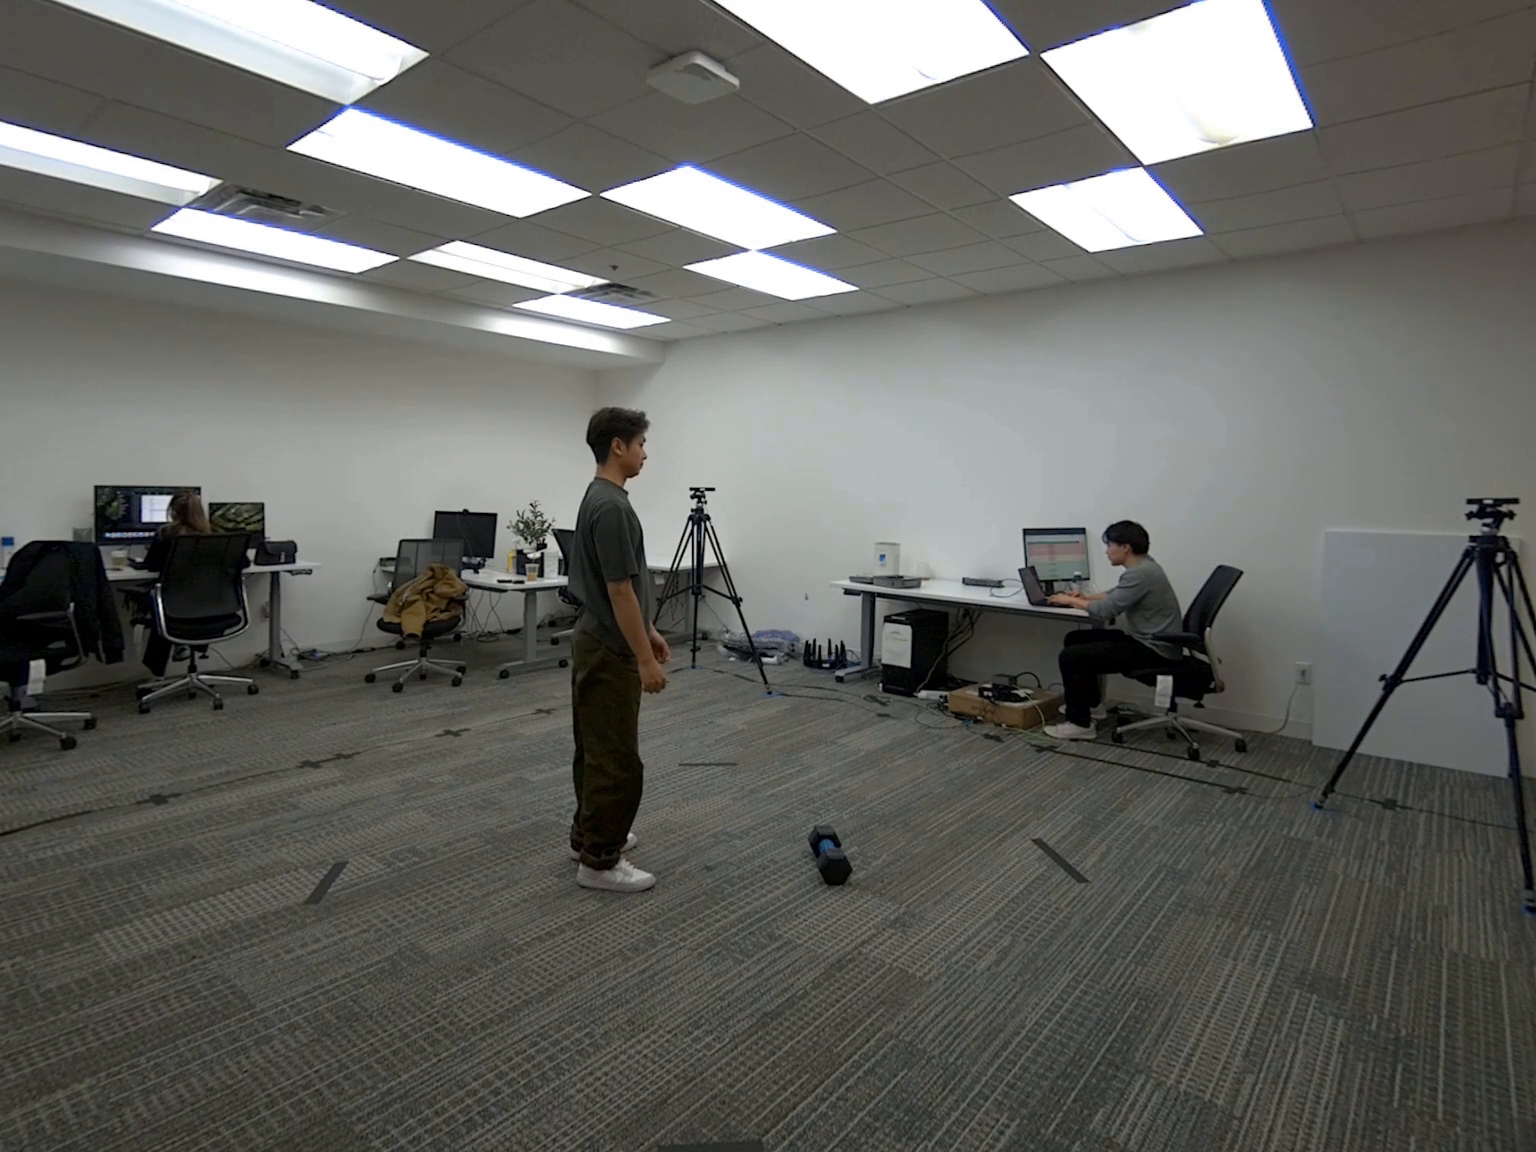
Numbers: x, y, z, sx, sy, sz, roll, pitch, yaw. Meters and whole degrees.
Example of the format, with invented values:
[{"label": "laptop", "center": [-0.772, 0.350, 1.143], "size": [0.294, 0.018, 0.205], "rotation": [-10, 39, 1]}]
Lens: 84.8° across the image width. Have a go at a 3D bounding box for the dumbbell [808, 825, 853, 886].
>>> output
[{"label": "dumbbell", "center": [0.216, 1.025, 3.133], "size": [0.108, 0.123, 0.296], "rotation": [30, 2, -7]}]
